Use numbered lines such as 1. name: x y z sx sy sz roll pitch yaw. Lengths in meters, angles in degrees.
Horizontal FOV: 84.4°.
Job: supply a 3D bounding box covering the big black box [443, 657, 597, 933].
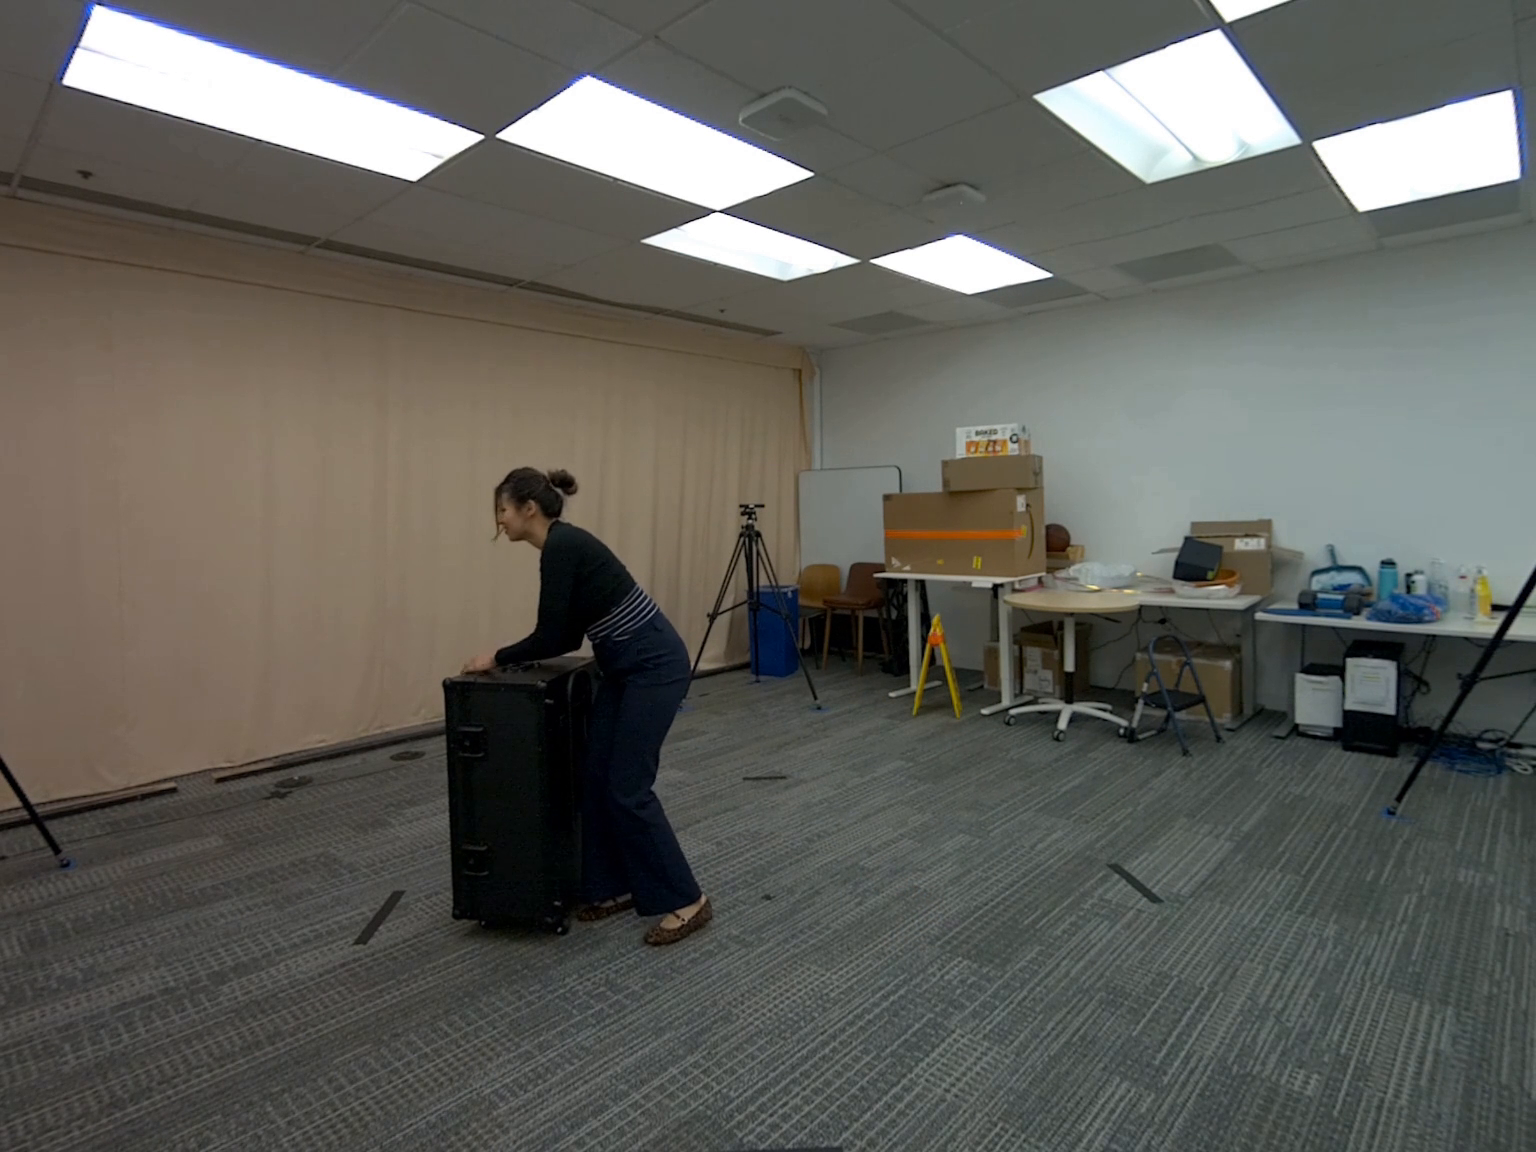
1. big black box: -0.817 0.745 2.914 0.402 0.859 0.514 1 4 13
